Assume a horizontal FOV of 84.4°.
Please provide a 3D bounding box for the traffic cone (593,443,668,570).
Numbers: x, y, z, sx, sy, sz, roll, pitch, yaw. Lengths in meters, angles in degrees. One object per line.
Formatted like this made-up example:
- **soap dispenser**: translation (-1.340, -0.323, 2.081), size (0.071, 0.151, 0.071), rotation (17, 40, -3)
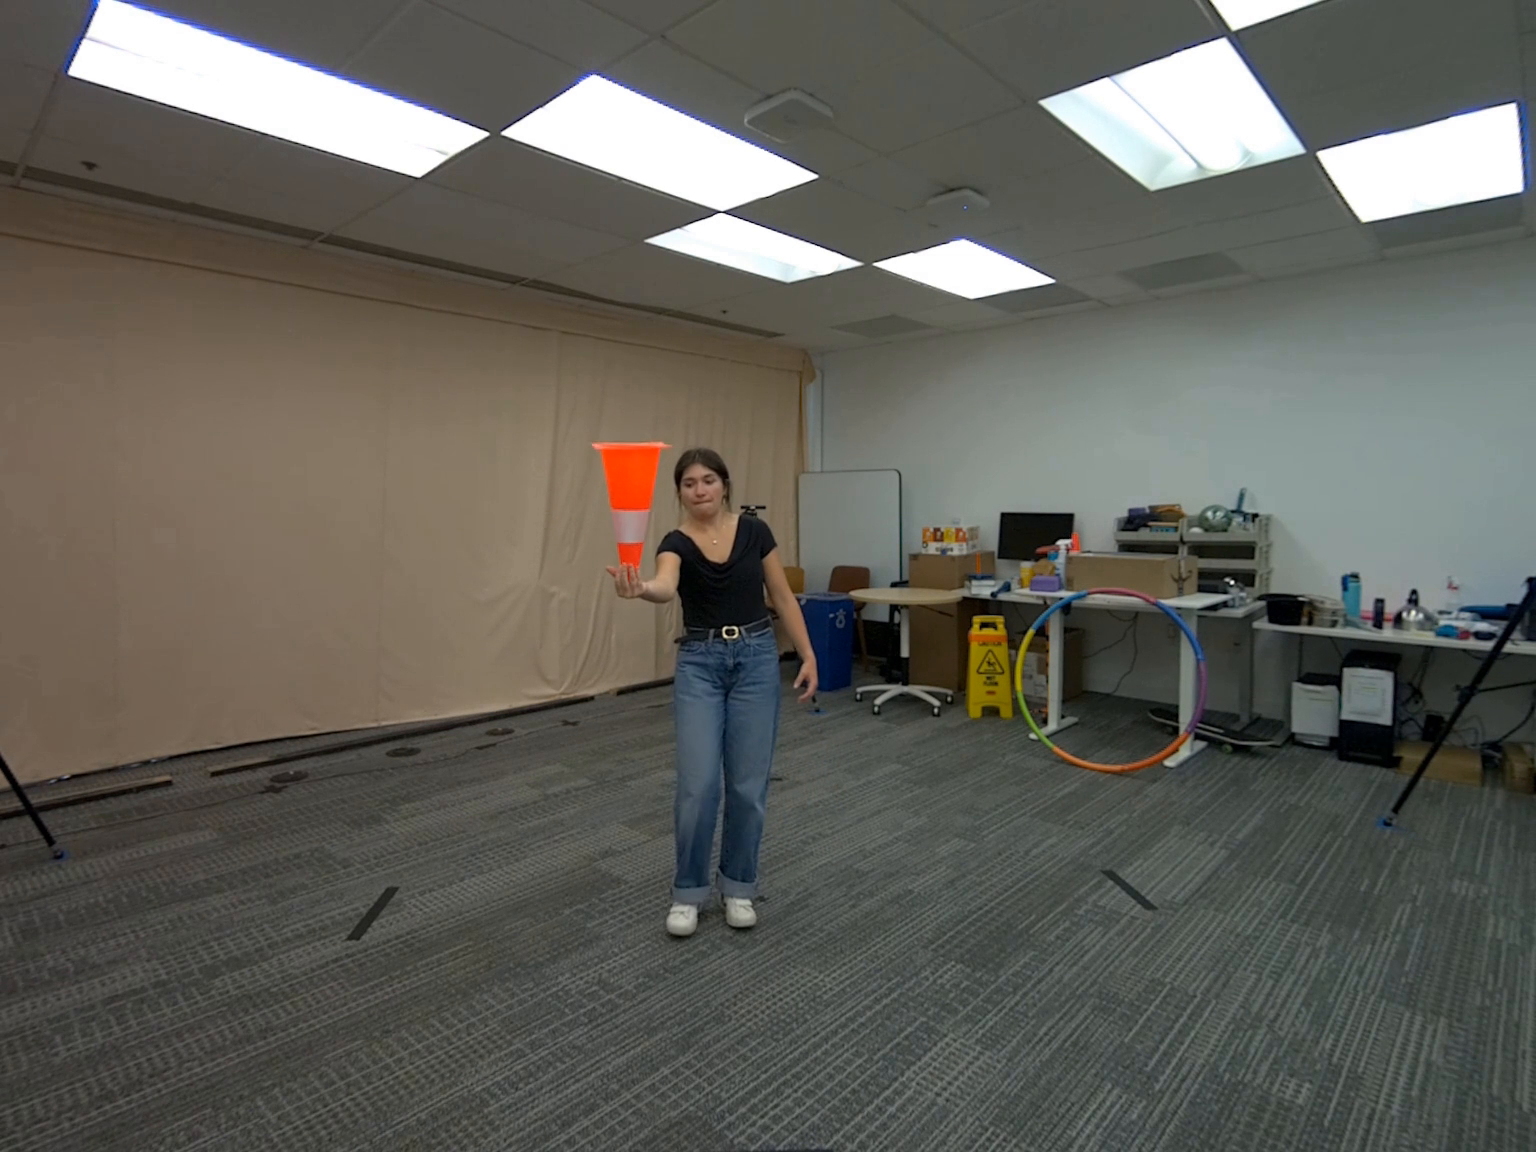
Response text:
- **traffic cone**: translation (-0.357, -0.149, 2.244), size (0.201, 0.382, 0.208), rotation (-3, 8, -10)
